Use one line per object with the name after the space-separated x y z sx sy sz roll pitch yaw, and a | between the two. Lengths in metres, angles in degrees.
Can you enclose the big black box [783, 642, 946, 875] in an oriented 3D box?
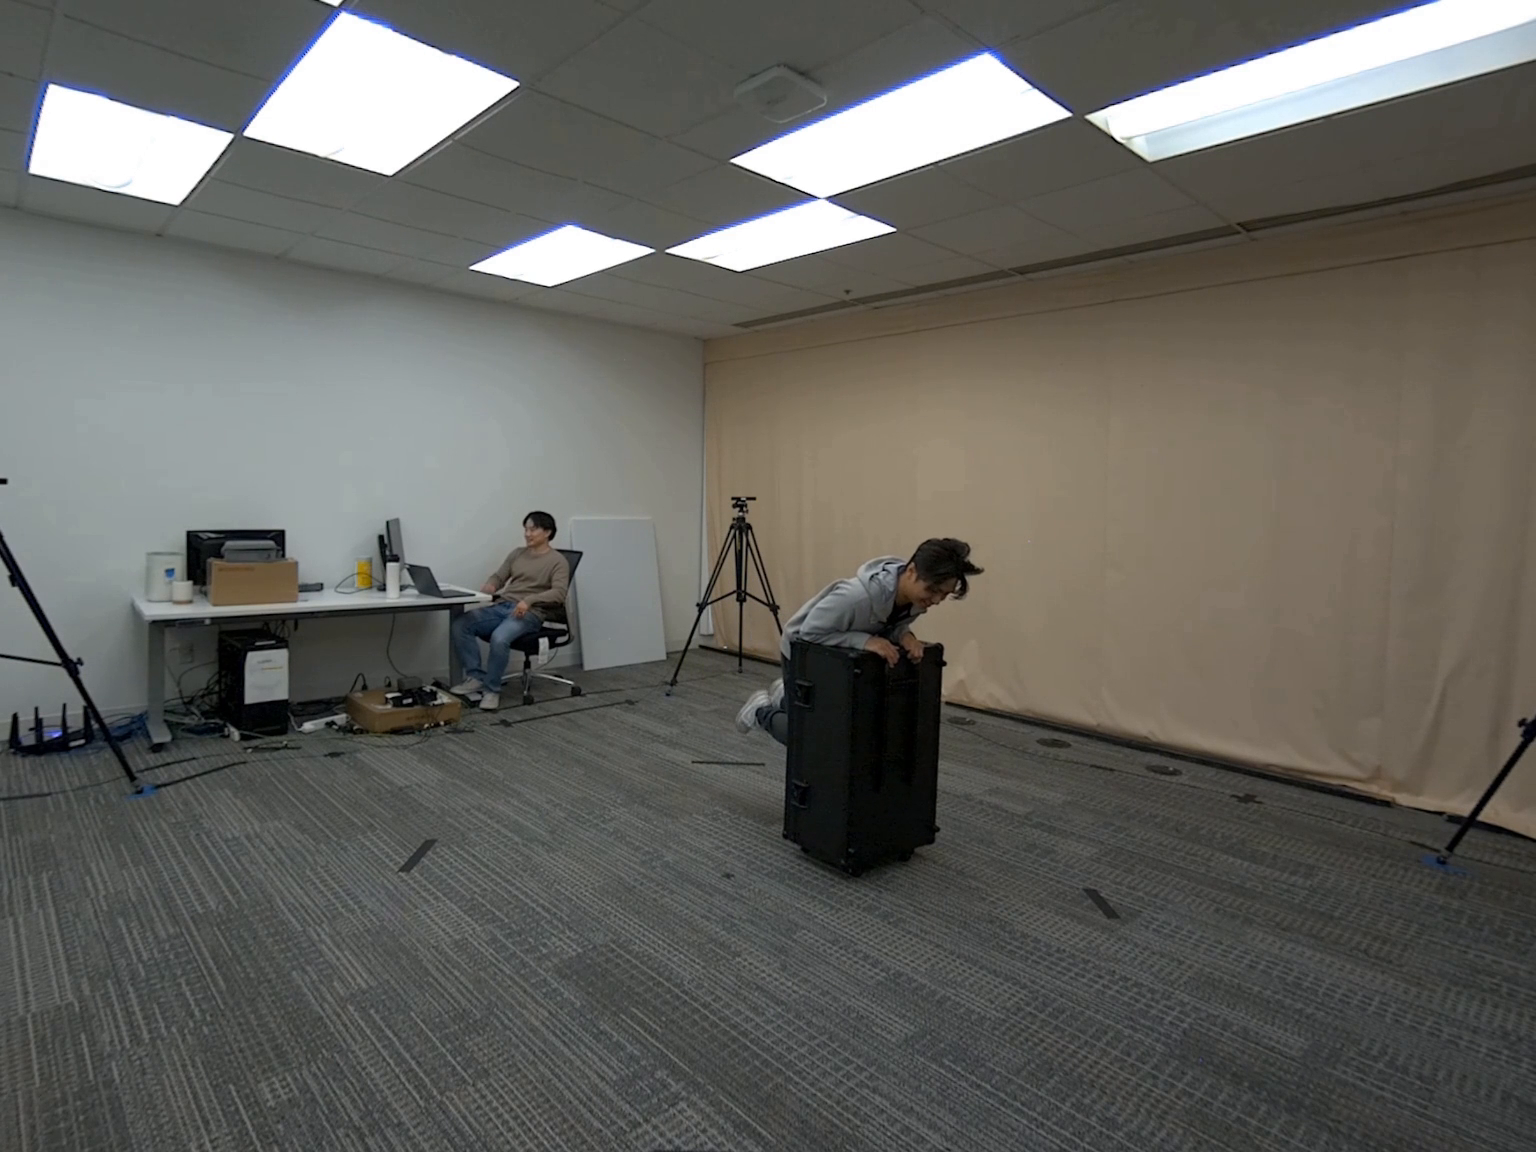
0.375 0.687 3.271 0.509 0.859 0.406 0 5 -37 | big black box
